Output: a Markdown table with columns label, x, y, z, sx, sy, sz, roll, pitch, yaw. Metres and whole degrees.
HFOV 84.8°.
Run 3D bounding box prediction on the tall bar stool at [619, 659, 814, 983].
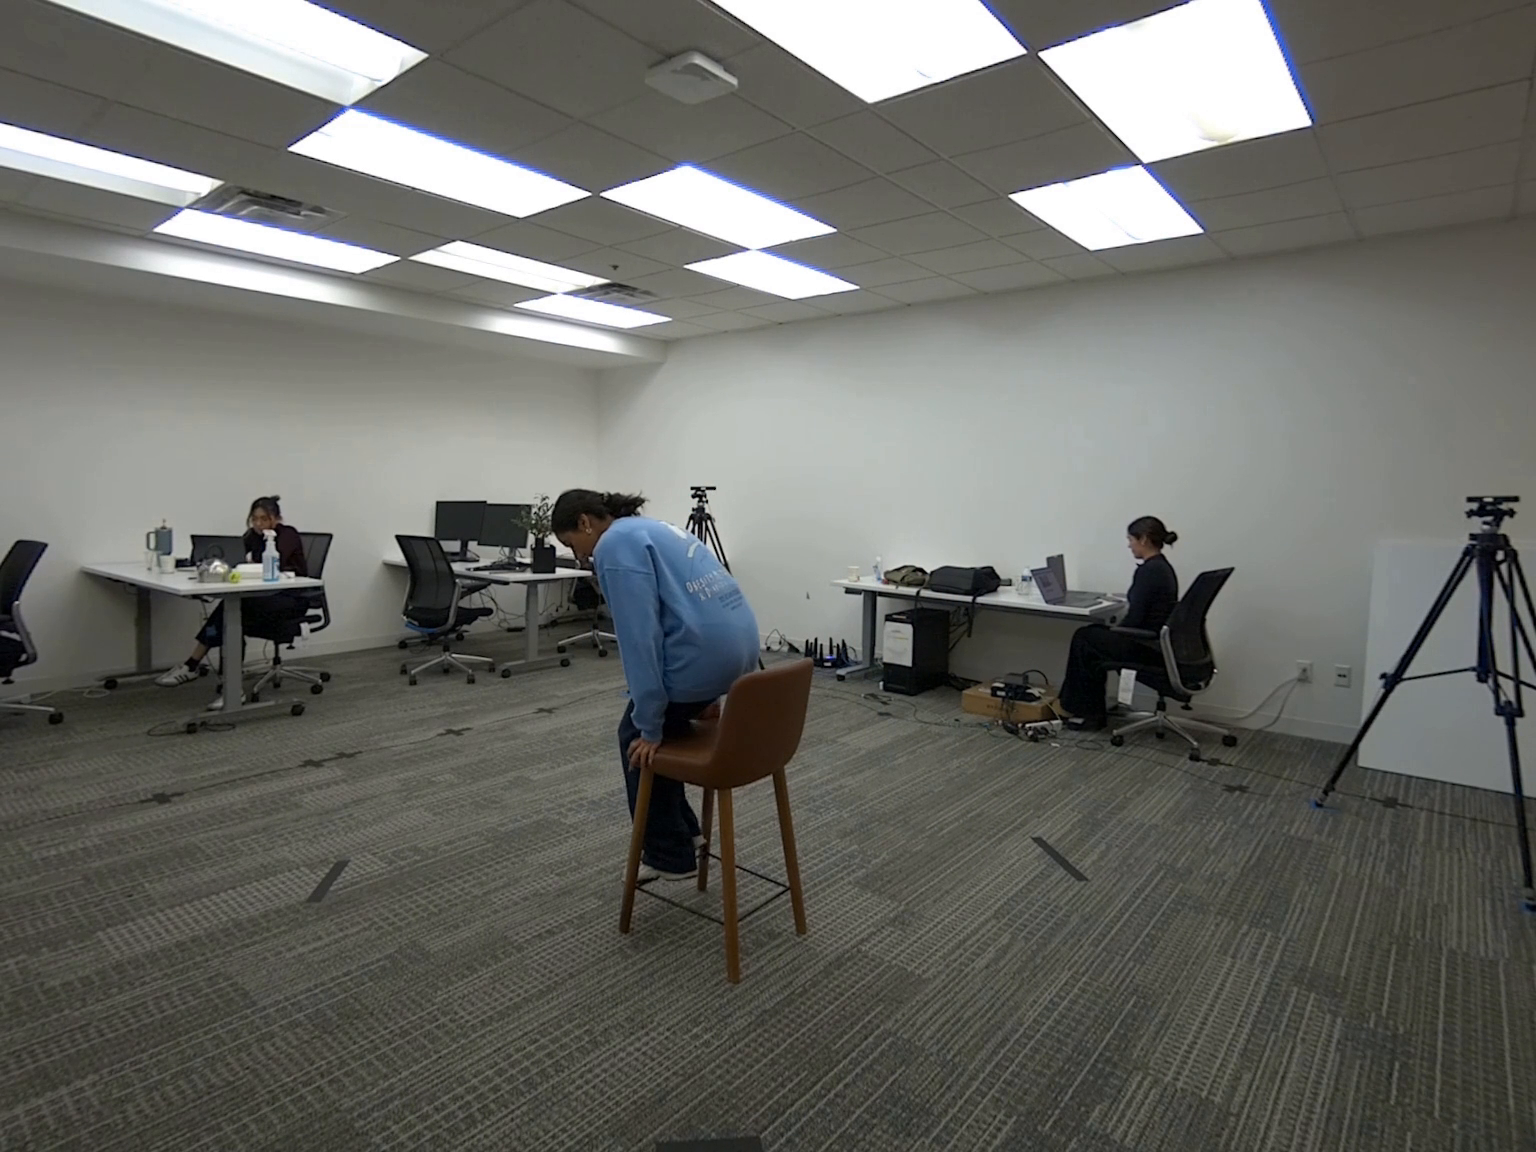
| label | x | y | z | sx | sy | sz | roll | pitch | yaw |
| --- | --- | --- | --- | --- | --- | --- | --- | --- | --- |
| tall bar stool | -0.159 | 0.676 | 2.636 | 0.483 | 0.886 | 0.443 | 6 | 6 | 38 |
